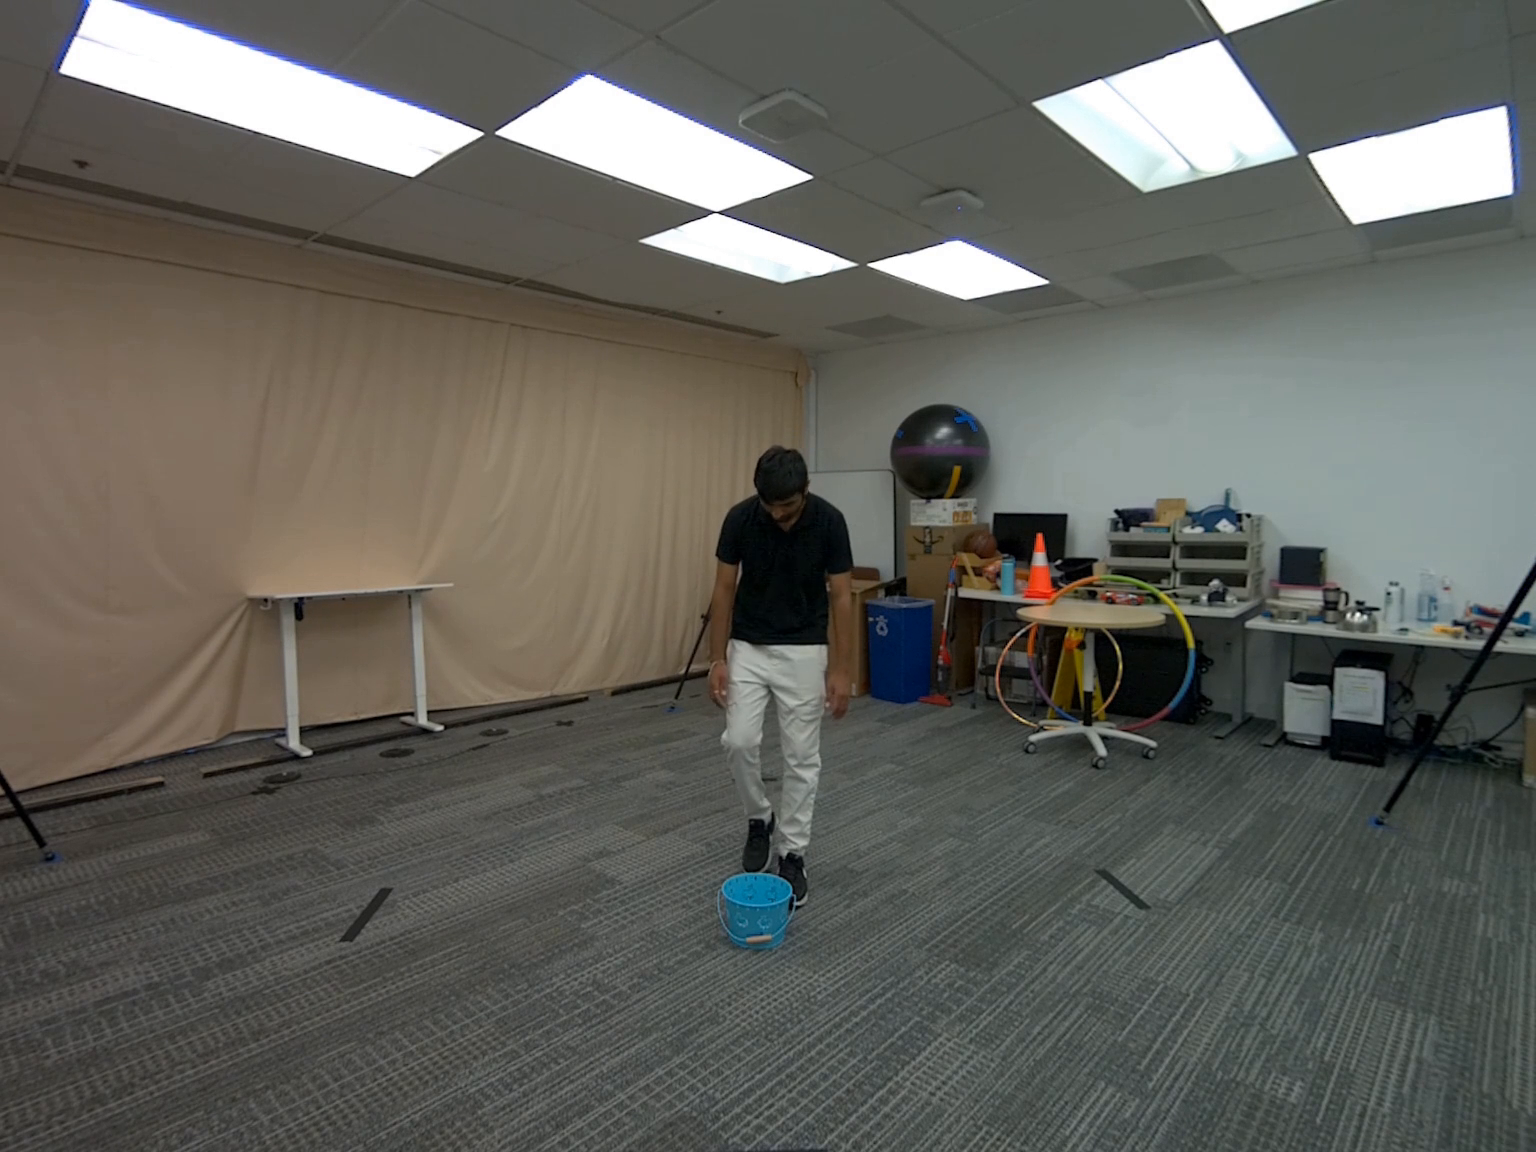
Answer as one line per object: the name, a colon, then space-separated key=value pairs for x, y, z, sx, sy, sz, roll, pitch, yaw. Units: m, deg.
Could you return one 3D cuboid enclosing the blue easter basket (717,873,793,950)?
blue easter basket: x=-0.037 y=1.084 z=2.733 sx=0.243 sy=0.155 sz=0.244 roll=0 pitch=4 yaw=-2
